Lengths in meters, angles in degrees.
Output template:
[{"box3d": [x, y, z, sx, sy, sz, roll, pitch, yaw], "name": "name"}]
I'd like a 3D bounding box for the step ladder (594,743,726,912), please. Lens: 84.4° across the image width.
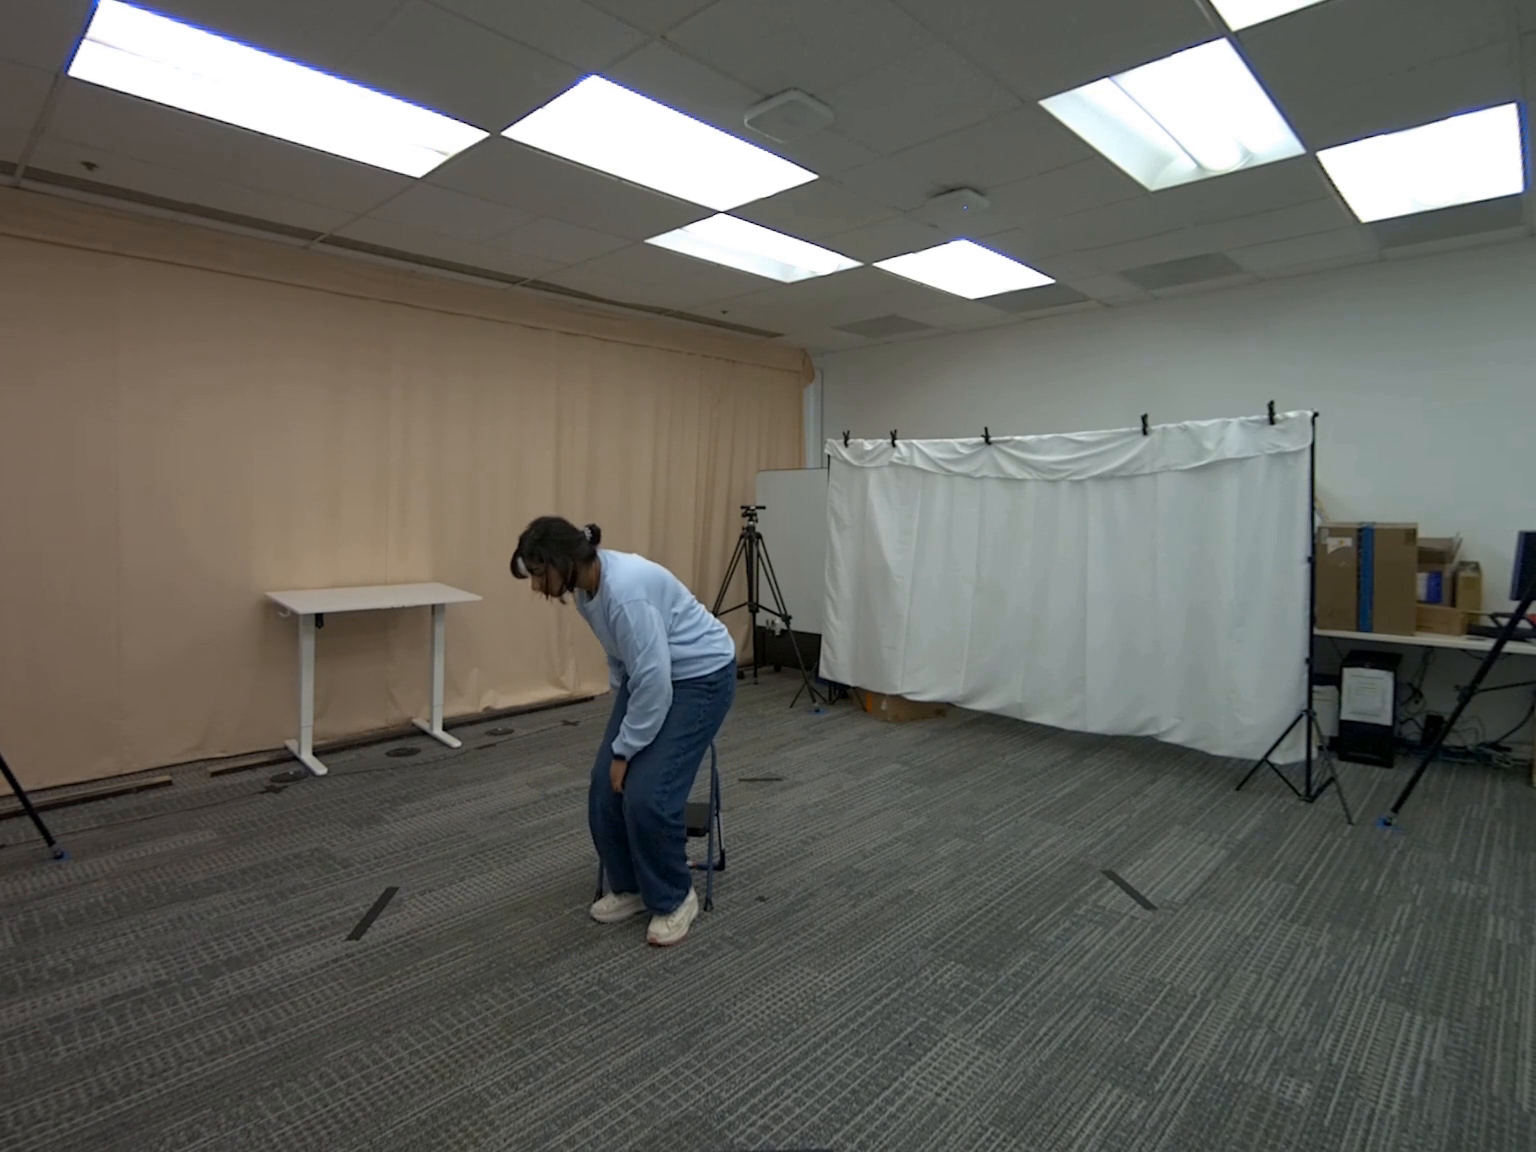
[{"box3d": [-0.387, 0.835, 3.086, 0.435, 0.604, 0.347, 0, 4, 8], "name": "step ladder"}]
